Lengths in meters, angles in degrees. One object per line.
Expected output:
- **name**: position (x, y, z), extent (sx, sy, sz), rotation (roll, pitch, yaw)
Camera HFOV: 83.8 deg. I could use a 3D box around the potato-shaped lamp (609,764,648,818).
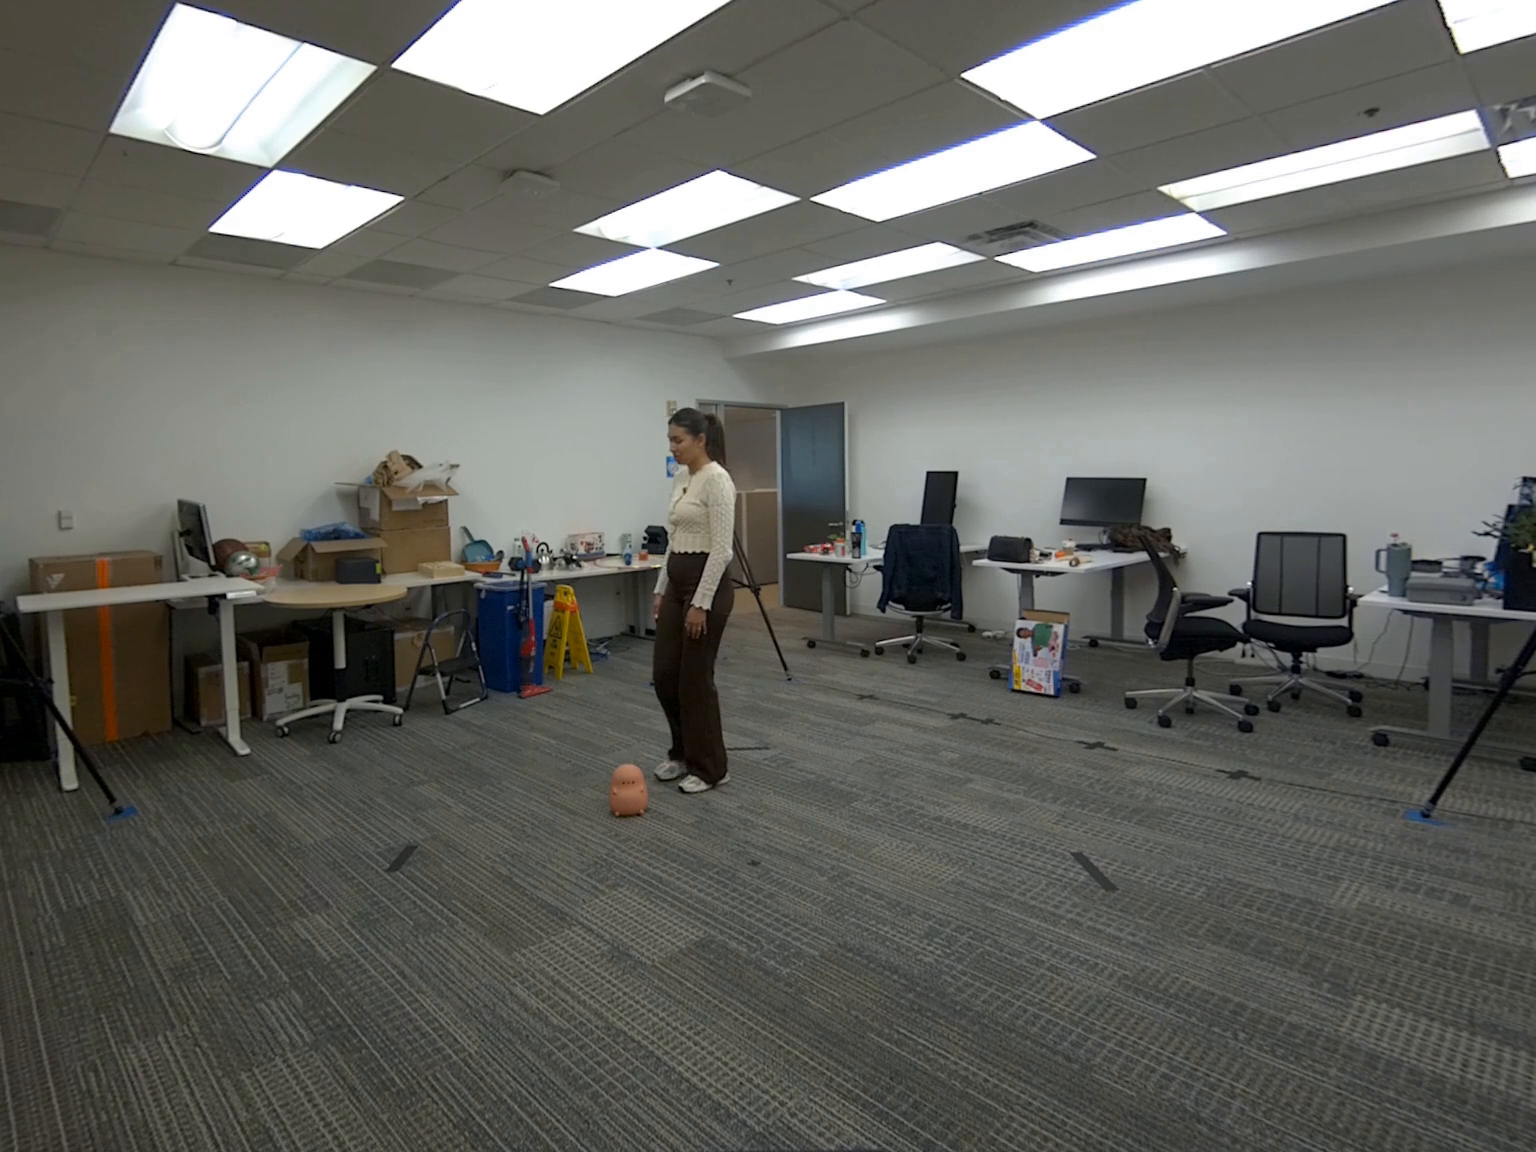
- **potato-shaped lamp**: position (-0.589, 0.898, 3.612), extent (0.164, 0.197, 0.173), rotation (-2, 5, -6)
